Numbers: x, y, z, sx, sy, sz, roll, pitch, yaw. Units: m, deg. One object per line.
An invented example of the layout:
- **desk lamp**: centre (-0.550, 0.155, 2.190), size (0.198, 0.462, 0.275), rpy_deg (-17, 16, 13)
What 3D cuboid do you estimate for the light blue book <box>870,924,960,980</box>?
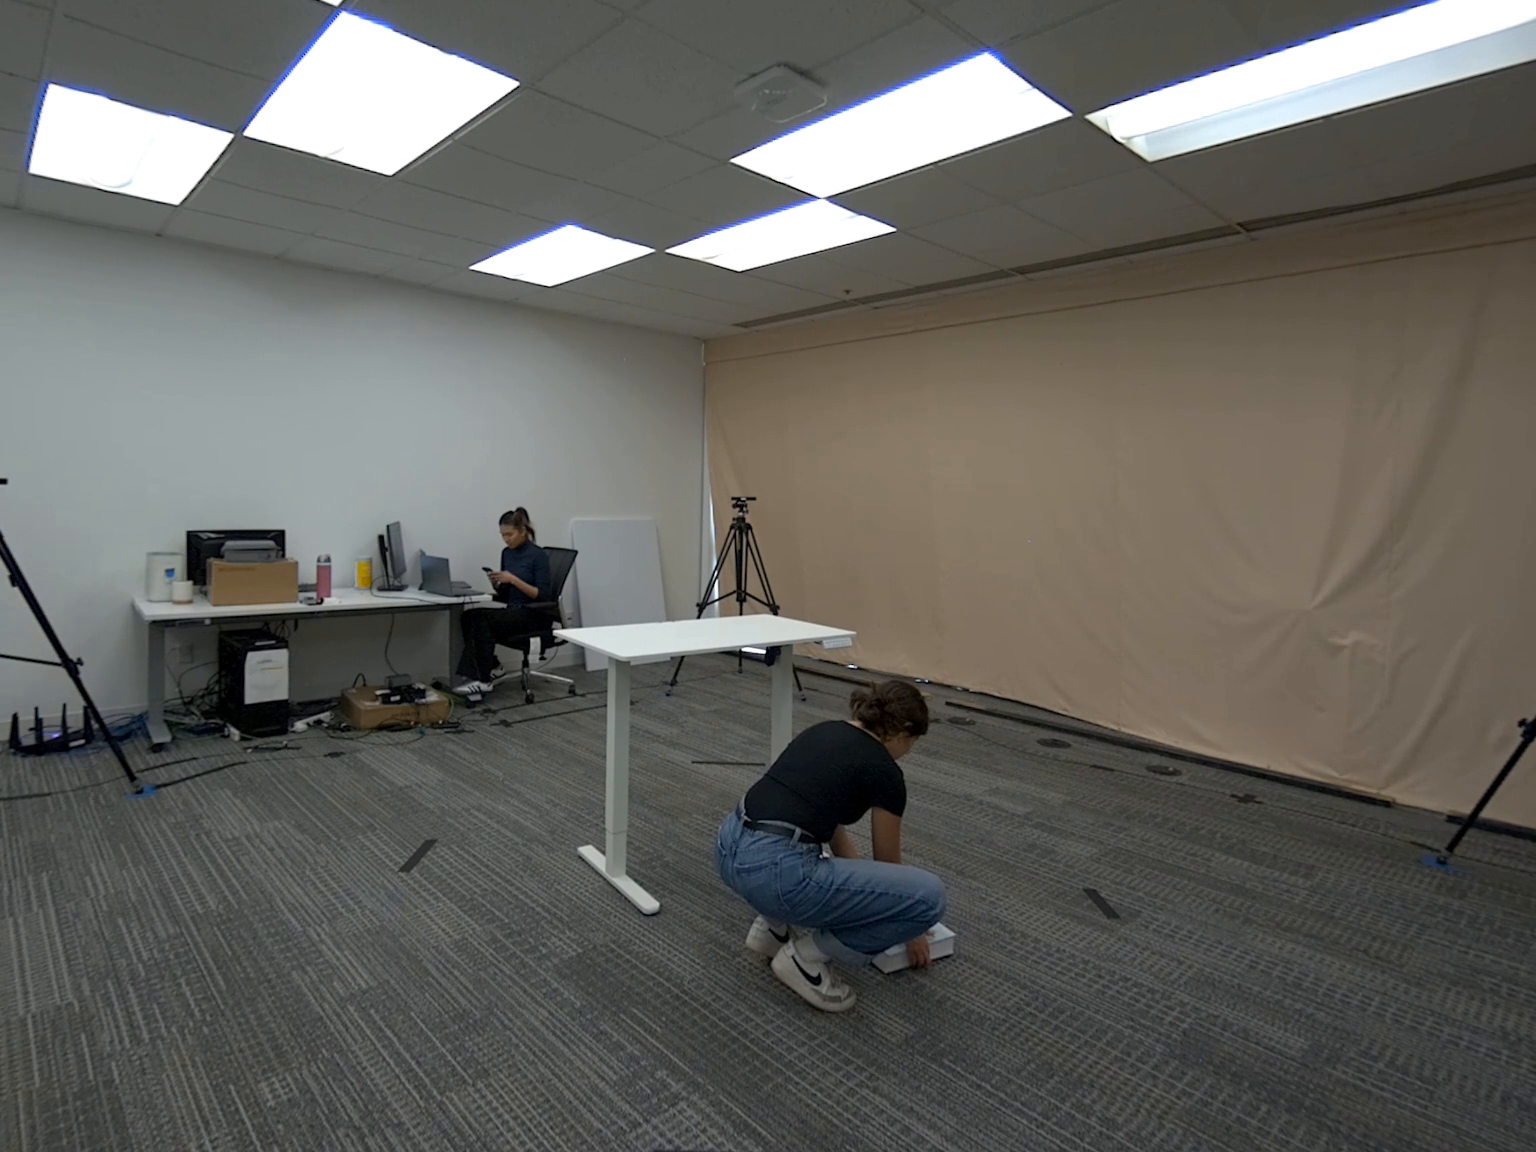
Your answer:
- **light blue book**: centre (0.420, 1.131, 2.606), size (0.256, 0.059, 0.196), rpy_deg (-3, 6, -29)
